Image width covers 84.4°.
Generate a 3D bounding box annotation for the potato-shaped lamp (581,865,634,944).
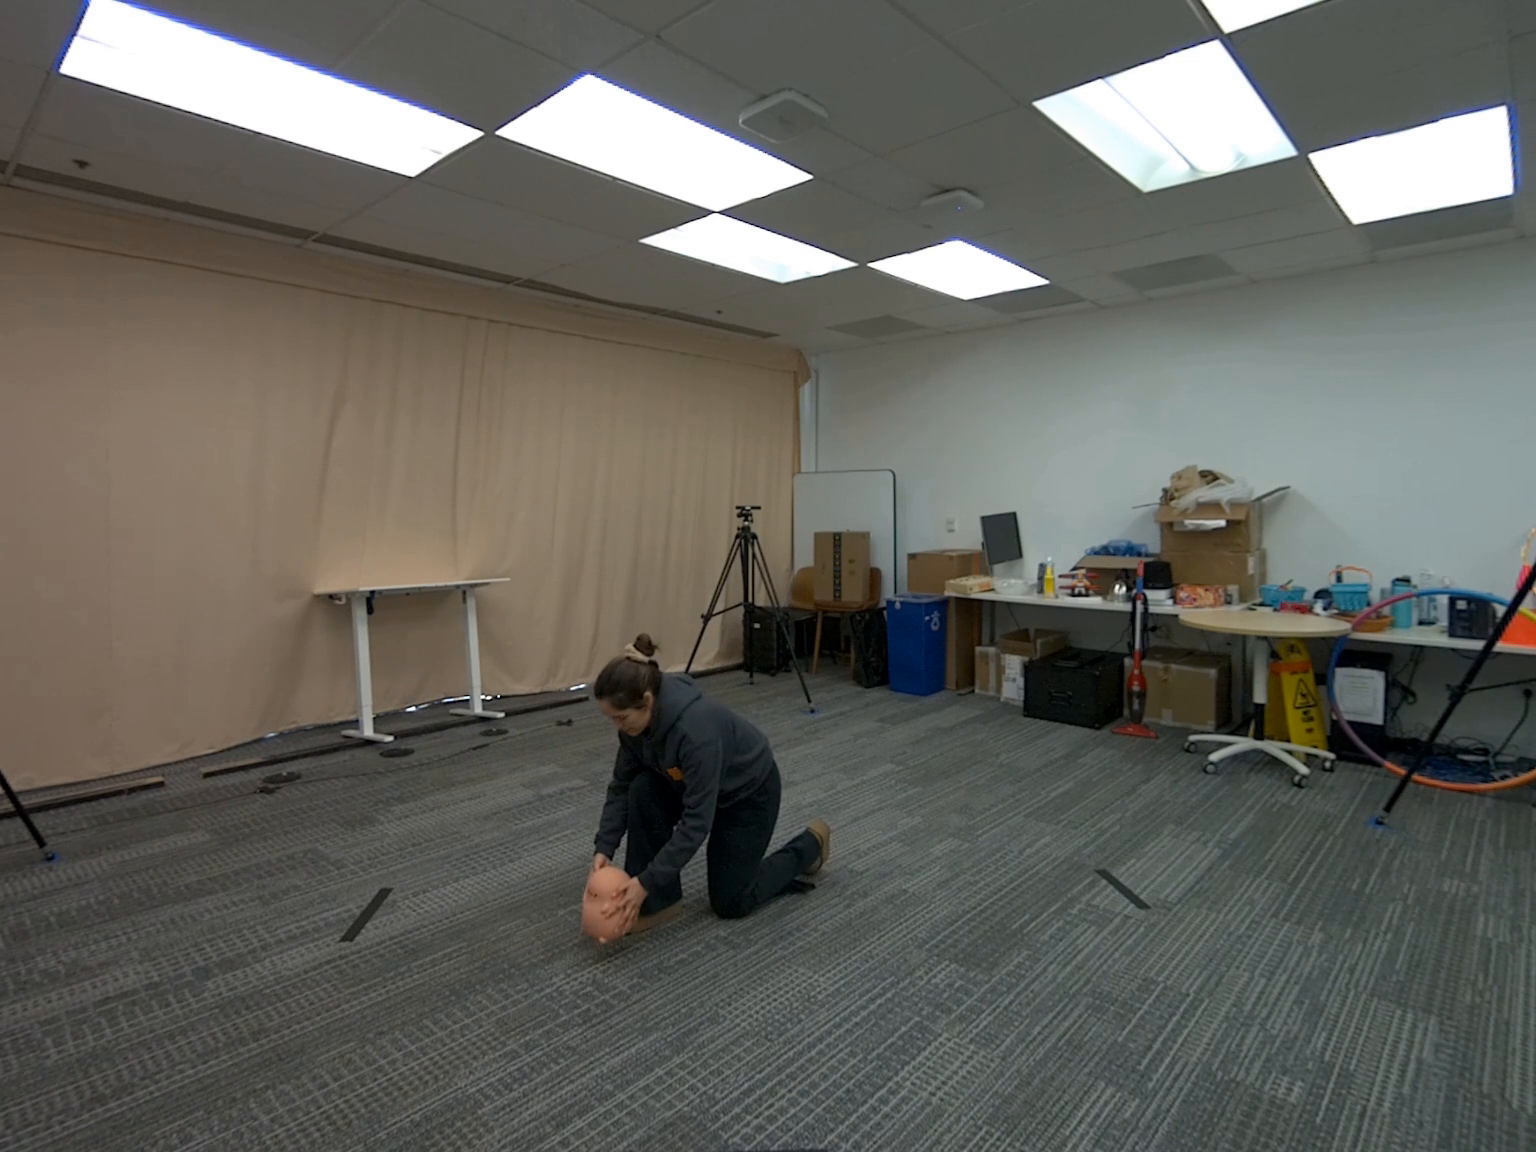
[{"bbox_3d":[-0.482,0.997,2.607,0.166,0.198,0.170,-6,3,-38],"label":"potato-shaped lamp"}]
